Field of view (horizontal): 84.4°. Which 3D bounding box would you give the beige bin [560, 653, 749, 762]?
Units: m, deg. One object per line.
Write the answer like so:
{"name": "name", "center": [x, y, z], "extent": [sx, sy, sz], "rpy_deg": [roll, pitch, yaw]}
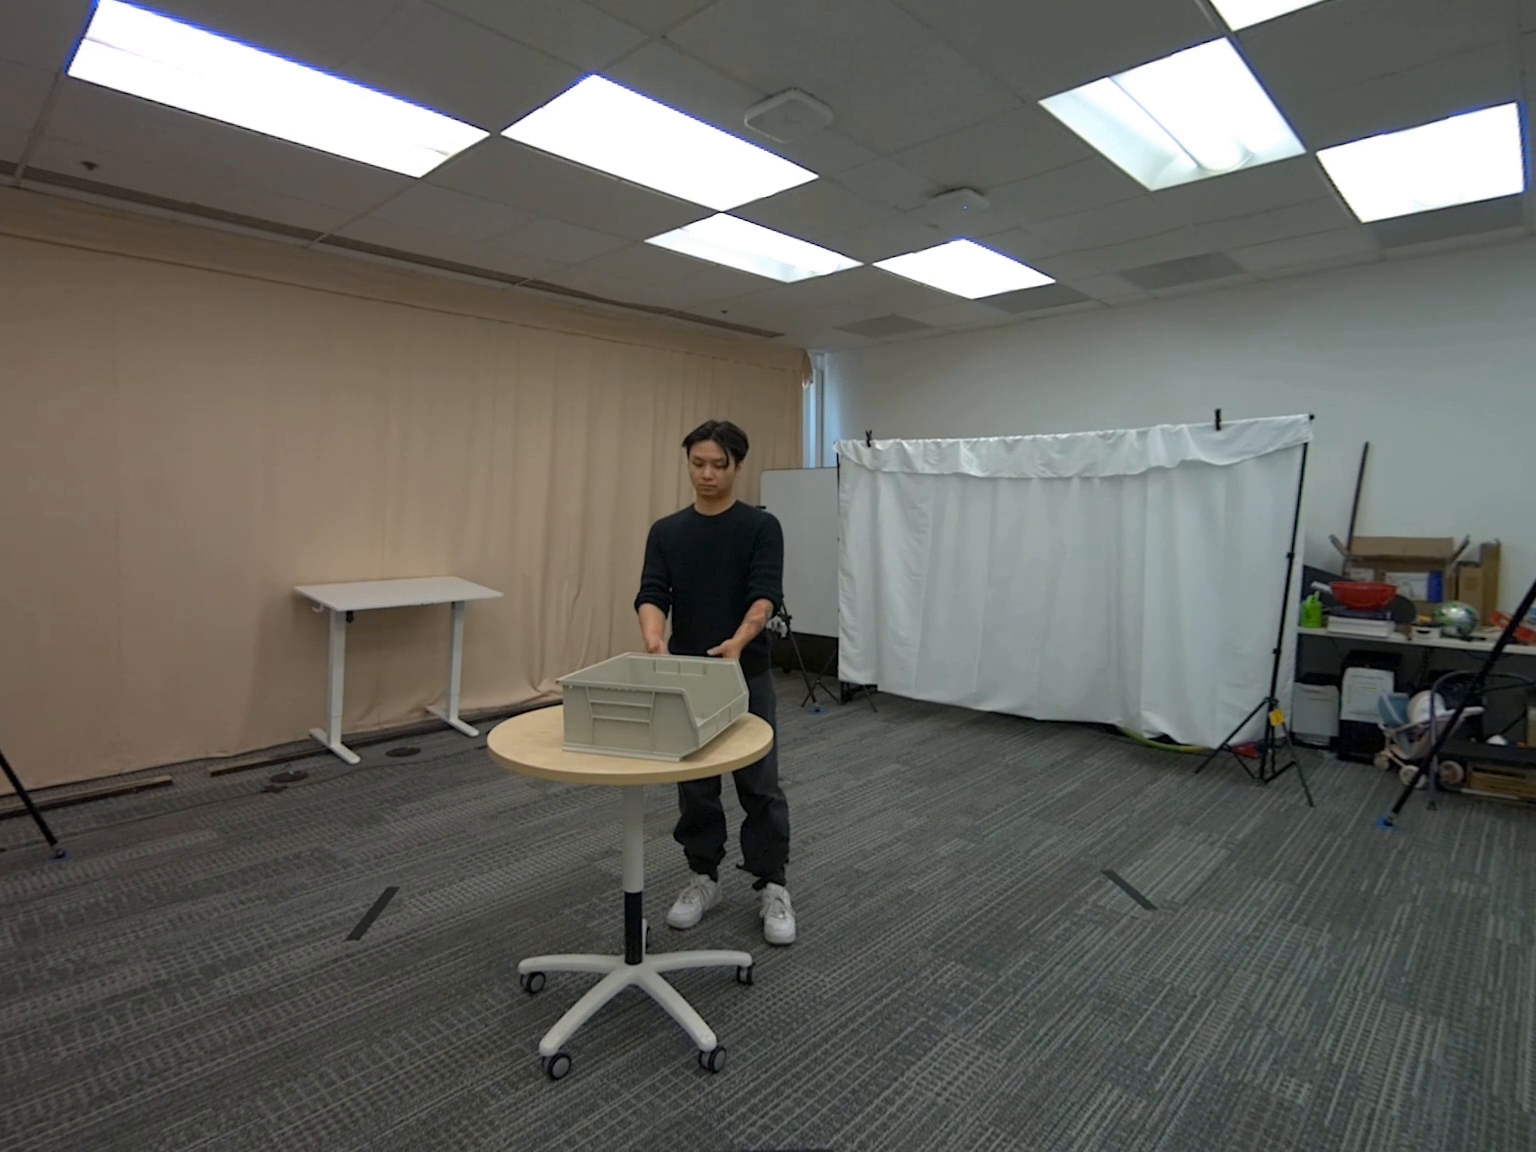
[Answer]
{"name": "beige bin", "center": [-0.294, 0.335, 2.230], "extent": [0.384, 0.188, 0.416], "rpy_deg": [-1, 4, 16]}
